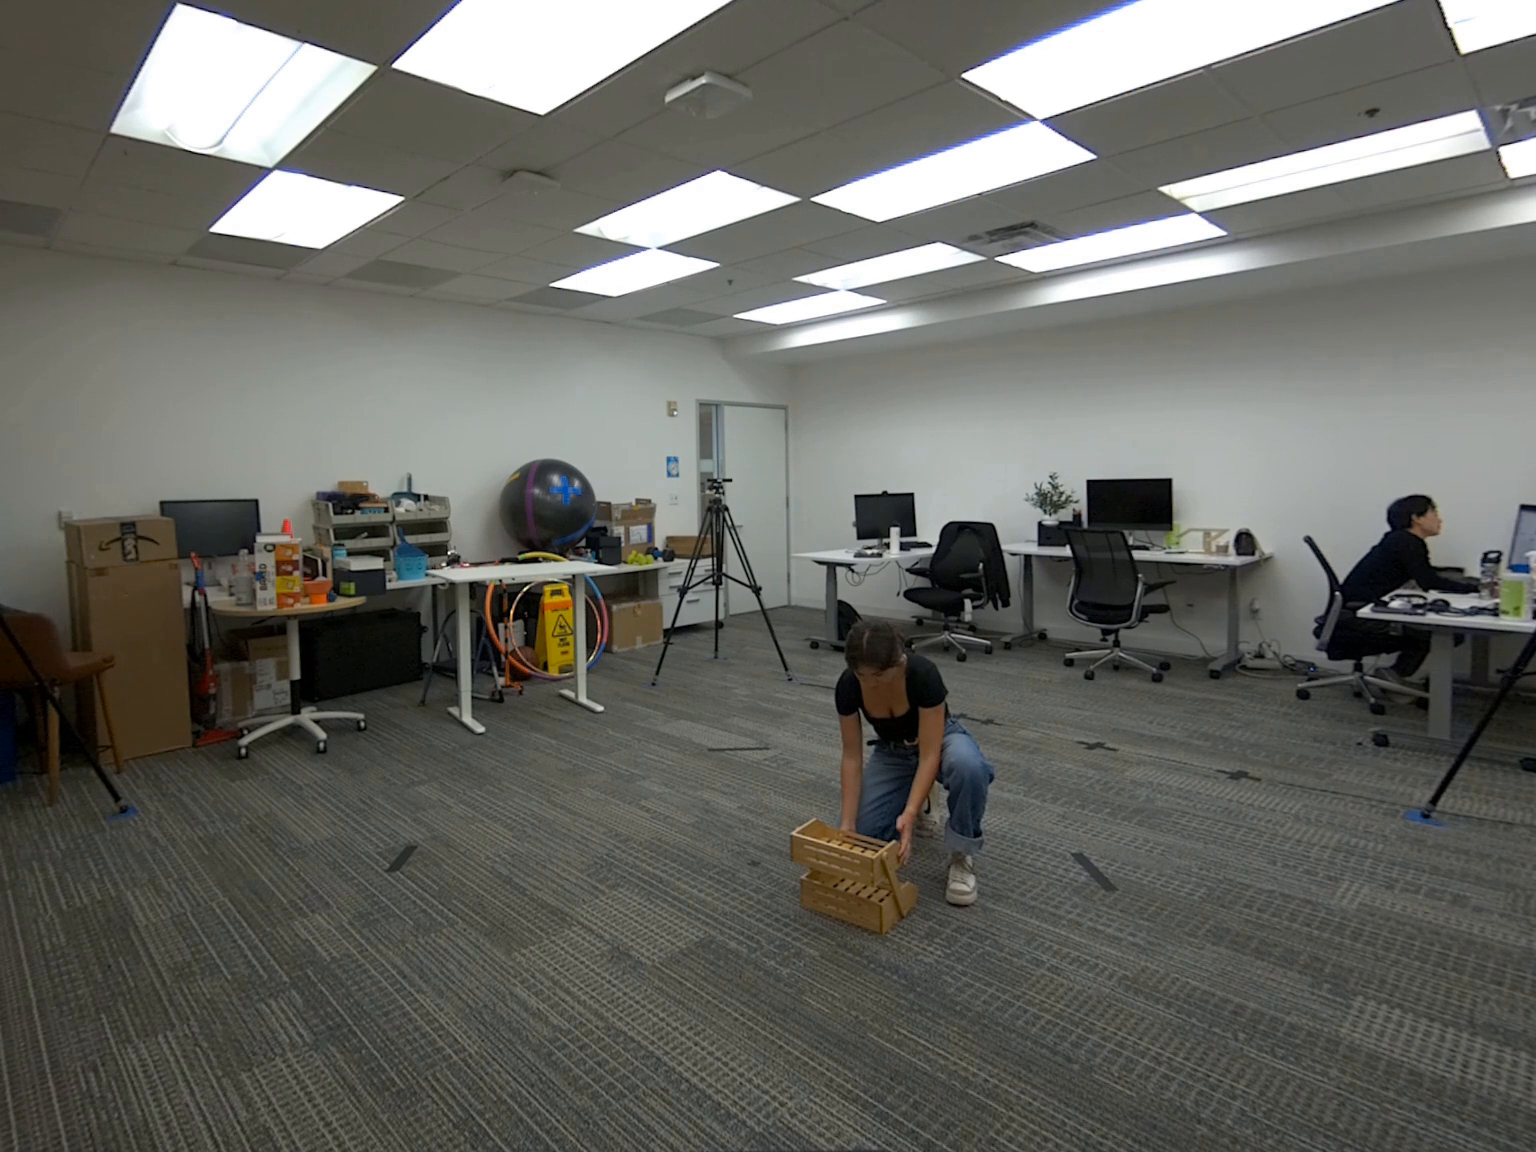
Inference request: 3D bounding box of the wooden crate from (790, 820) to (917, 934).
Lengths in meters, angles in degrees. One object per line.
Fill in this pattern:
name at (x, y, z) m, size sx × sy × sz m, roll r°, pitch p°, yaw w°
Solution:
wooden crate at (0.290, 0.945, 2.765) m, size 0.334 × 0.272 × 0.295 m, roll 4°, pitch 8°, yaw 38°
